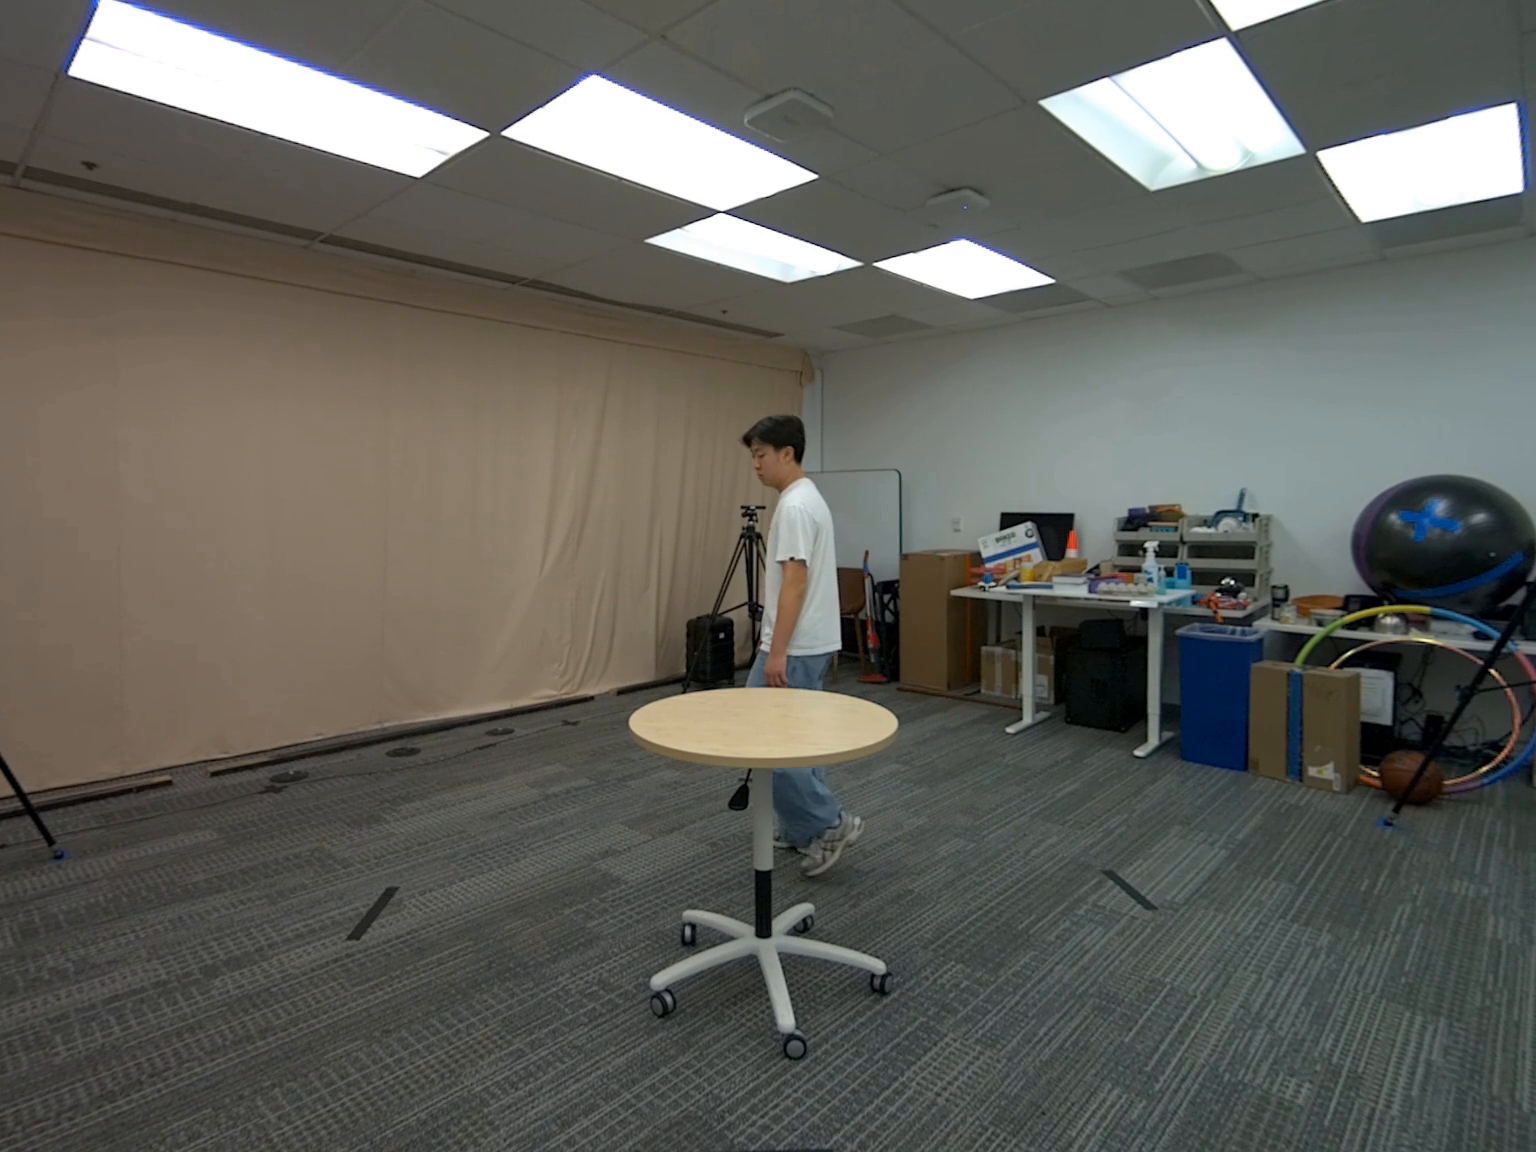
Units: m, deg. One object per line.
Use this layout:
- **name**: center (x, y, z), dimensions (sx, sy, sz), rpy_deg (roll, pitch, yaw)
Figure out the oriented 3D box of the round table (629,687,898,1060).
- **round table**: center (-0.027, 0.797, 2.438), dimensions (0.784, 0.784, 0.788), rpy_deg (0, 4, -2)
